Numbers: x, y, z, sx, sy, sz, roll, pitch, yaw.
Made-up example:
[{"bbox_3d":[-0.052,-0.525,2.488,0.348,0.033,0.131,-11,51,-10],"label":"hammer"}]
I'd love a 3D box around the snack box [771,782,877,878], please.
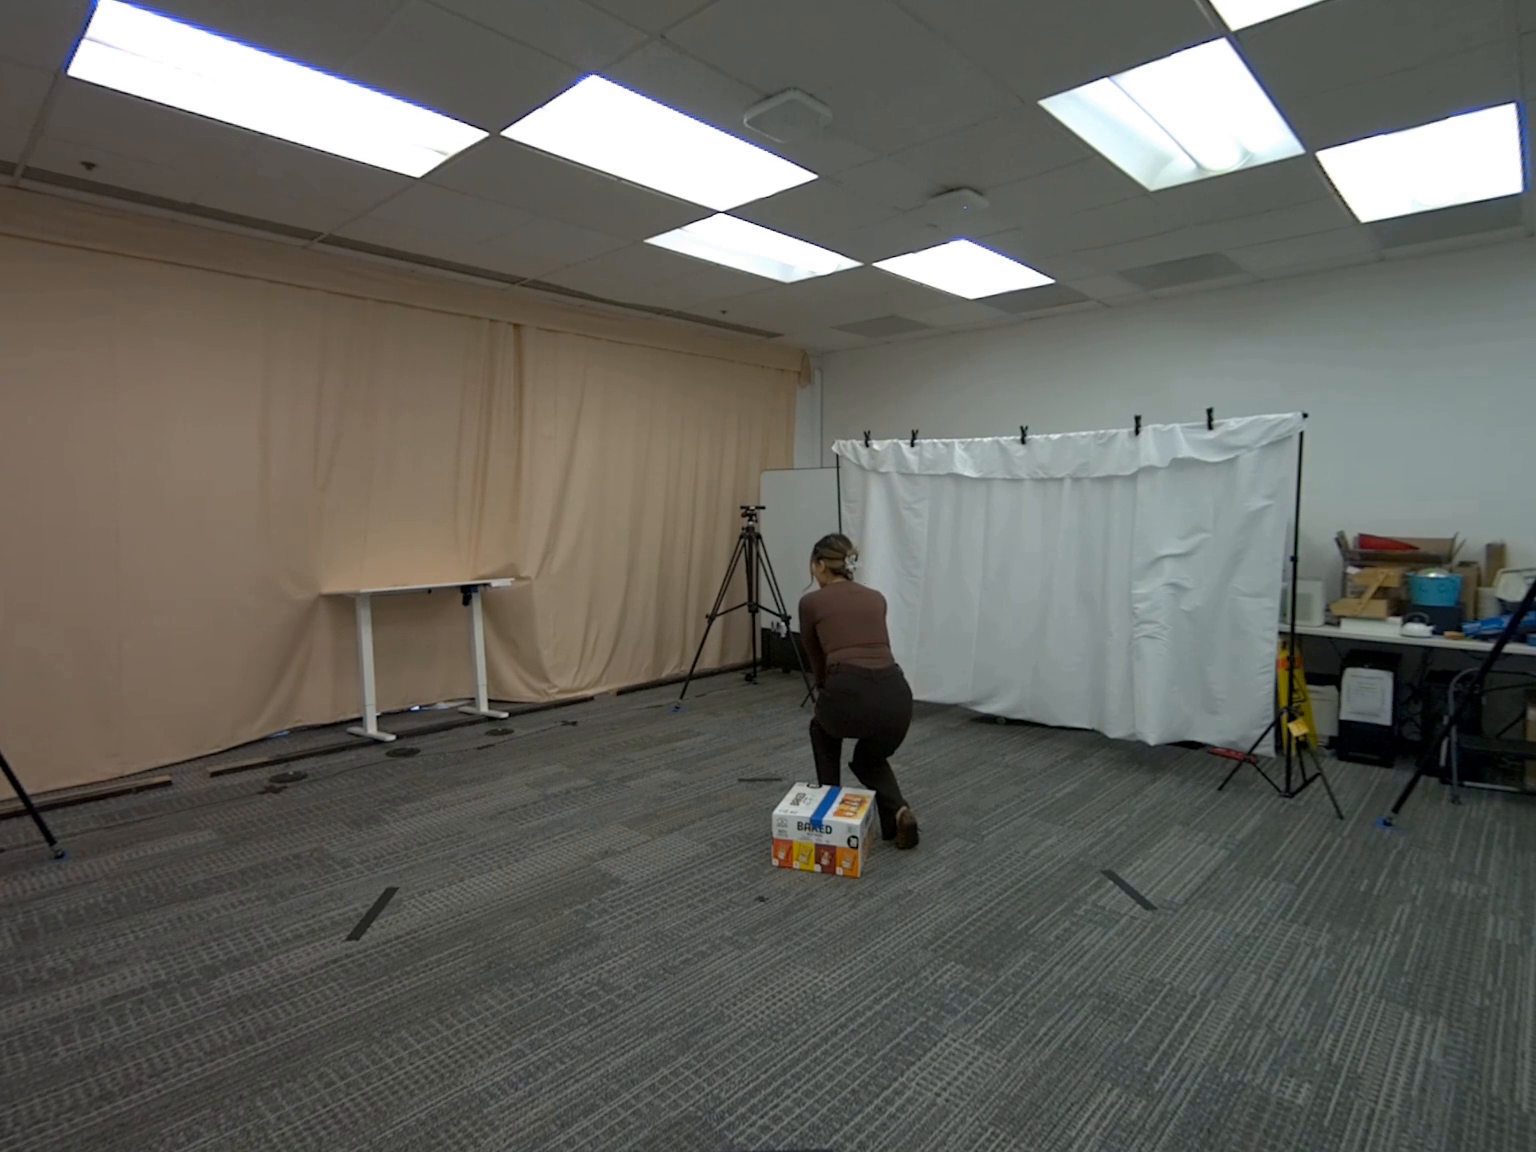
[{"bbox_3d":[0.235,1.007,3.382,0.347,0.205,0.398,1,4,17],"label":"snack box"}]
